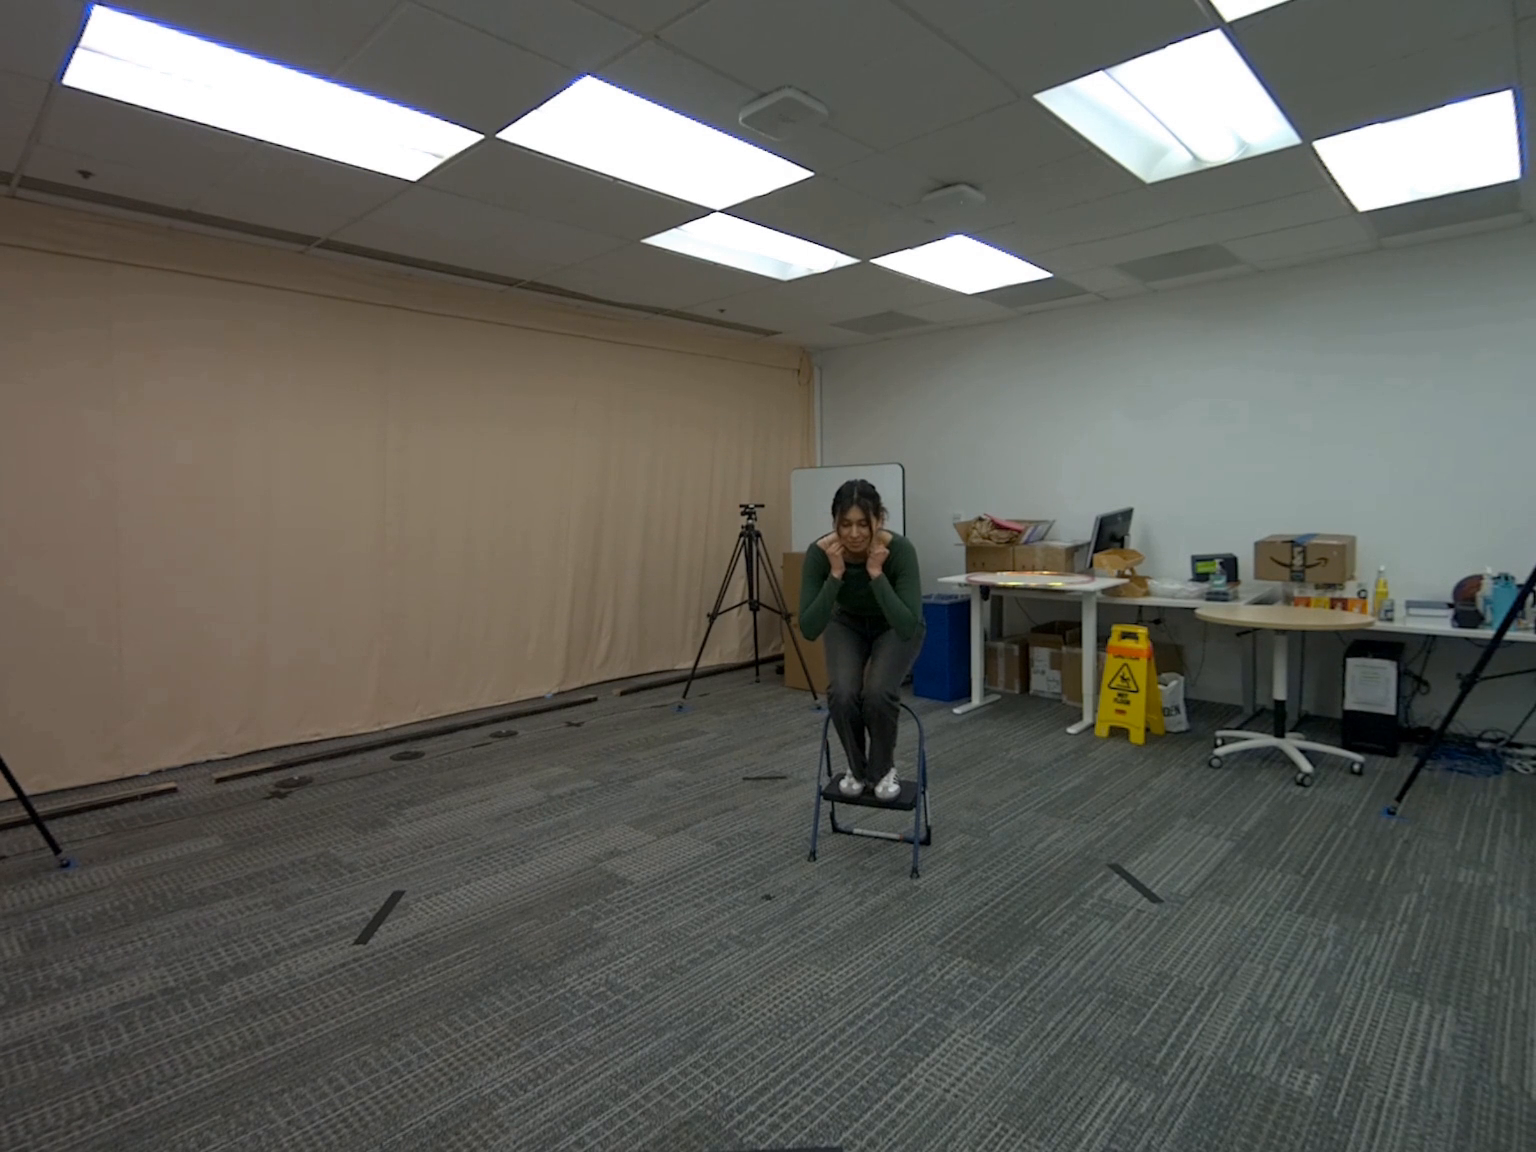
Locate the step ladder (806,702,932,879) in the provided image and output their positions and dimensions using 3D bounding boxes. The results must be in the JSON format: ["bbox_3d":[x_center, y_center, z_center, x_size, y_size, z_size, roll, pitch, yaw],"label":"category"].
[{"bbox_3d":[0.417,0.800,3.340,0.440,0.605,0.342,1,3,22],"label":"step ladder"}]
